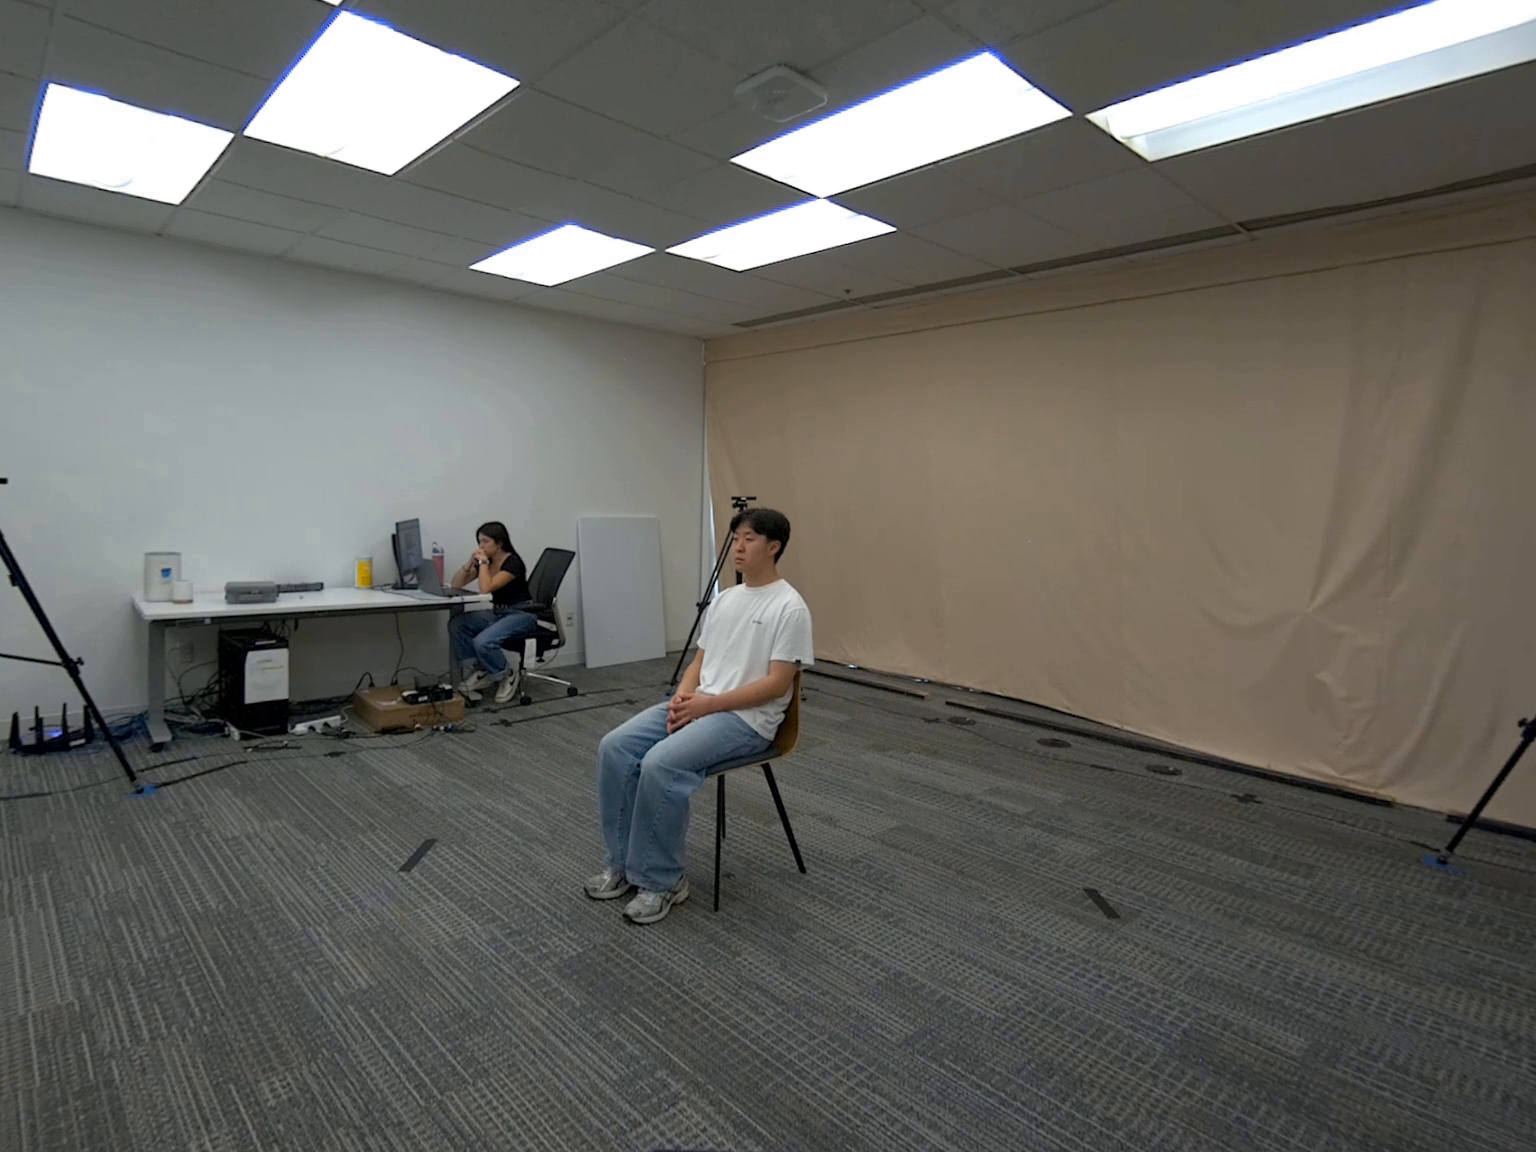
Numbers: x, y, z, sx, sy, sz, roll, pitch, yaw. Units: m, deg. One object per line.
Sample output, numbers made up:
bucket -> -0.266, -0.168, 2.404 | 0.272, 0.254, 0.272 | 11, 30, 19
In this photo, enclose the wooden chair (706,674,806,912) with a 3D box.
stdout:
wooden chair -> -0.172, 0.678, 3.119 | 0.510, 0.878, 0.490 | 5, -1, -45
